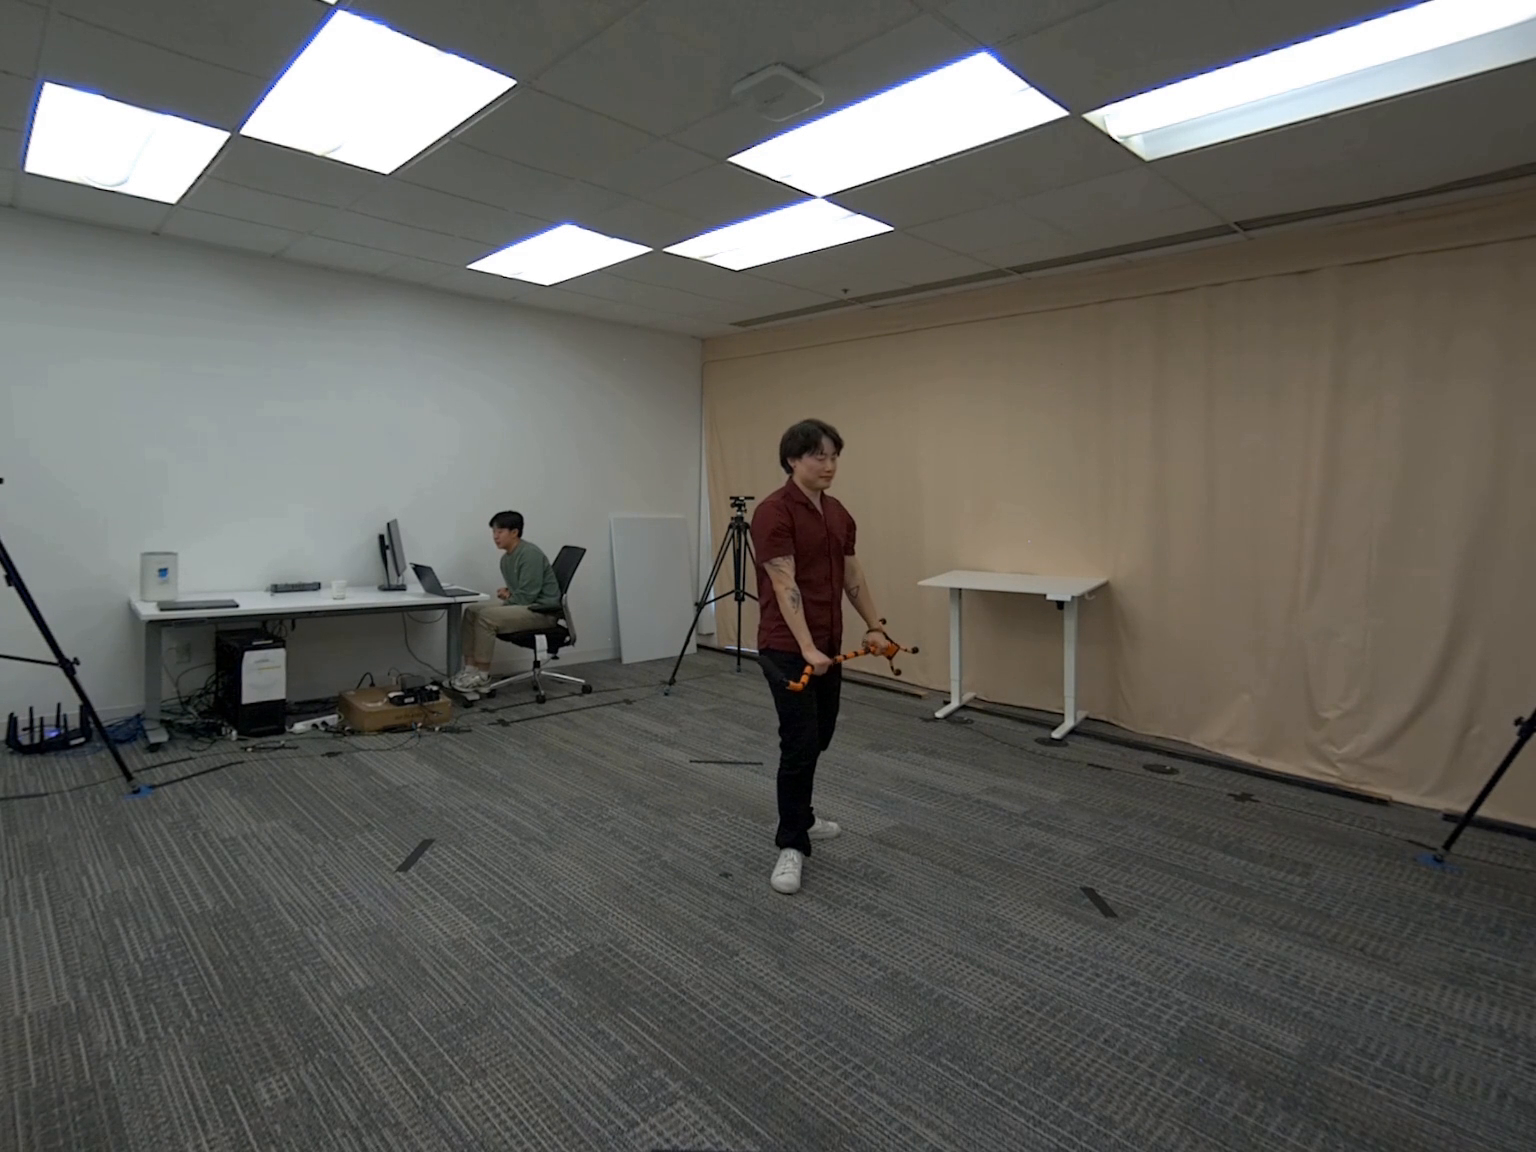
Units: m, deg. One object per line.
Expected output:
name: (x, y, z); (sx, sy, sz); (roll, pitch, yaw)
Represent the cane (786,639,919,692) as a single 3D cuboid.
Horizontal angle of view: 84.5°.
cane: (0.276, 0.321, 3.087); (0.211, 0.151, 0.890); (43, 24, 21)
